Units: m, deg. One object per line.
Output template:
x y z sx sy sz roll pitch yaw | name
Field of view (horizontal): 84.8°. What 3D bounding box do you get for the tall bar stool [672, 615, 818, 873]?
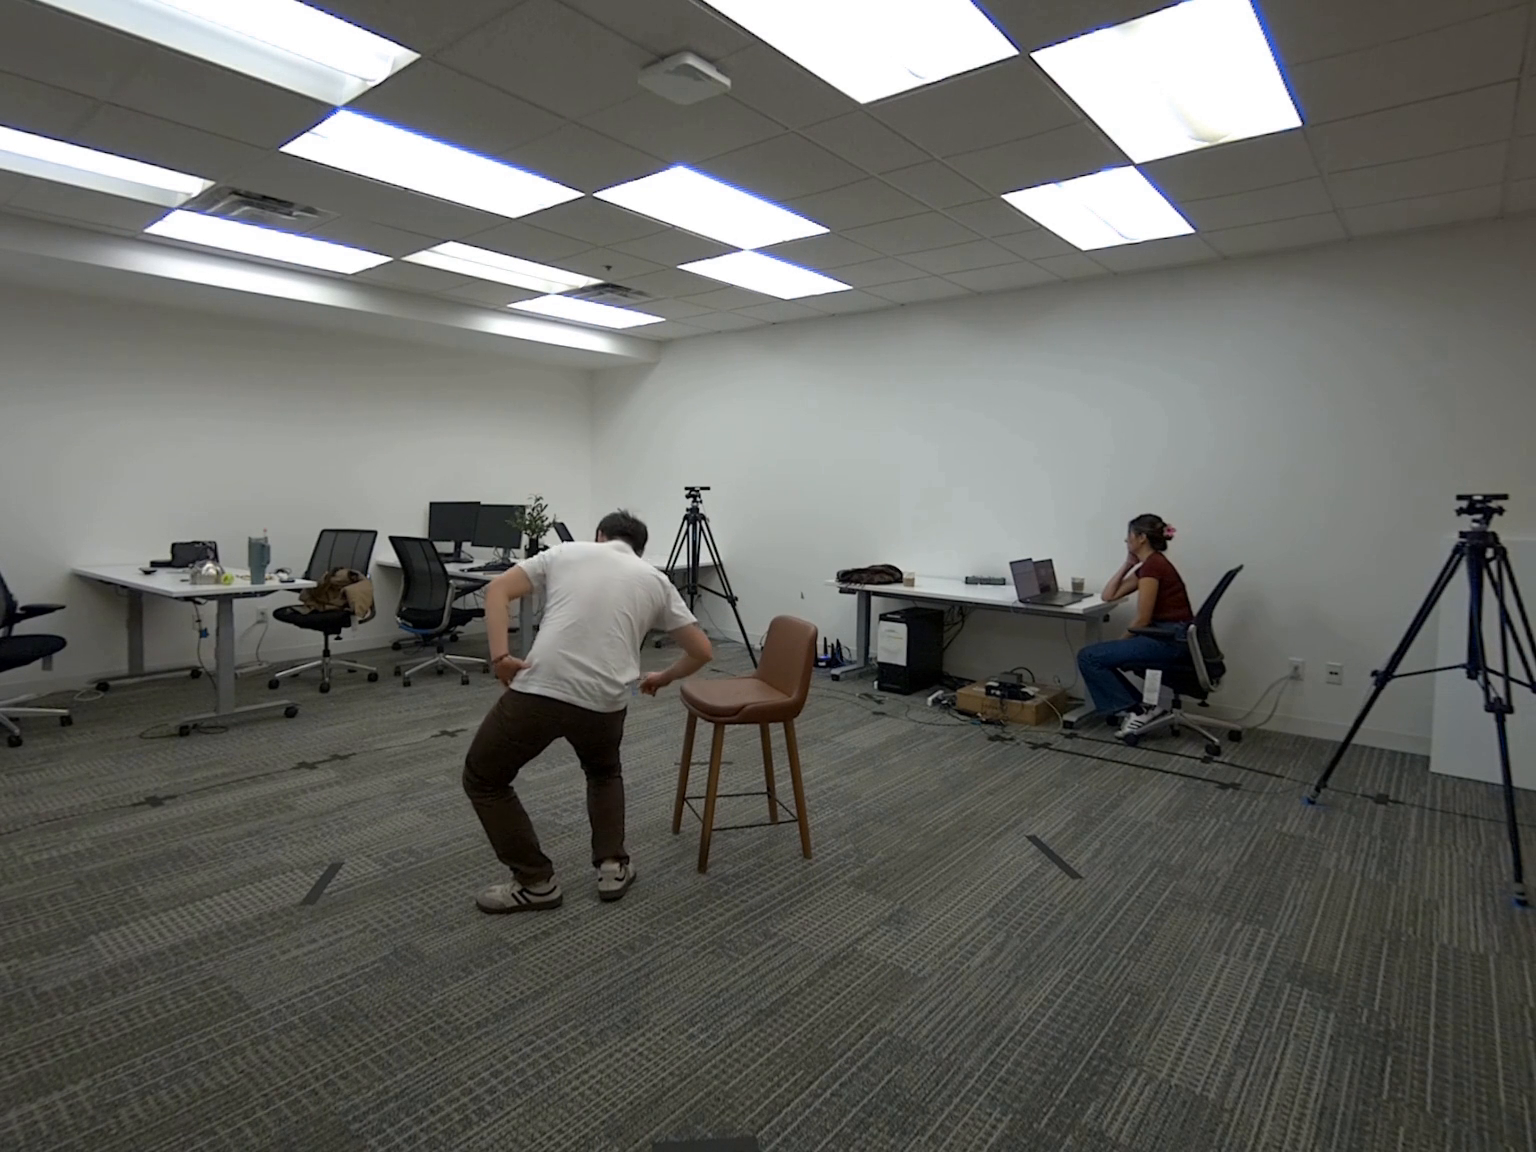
-0.108 0.610 3.300 0.458 0.888 0.467 1 3 -20 | tall bar stool
